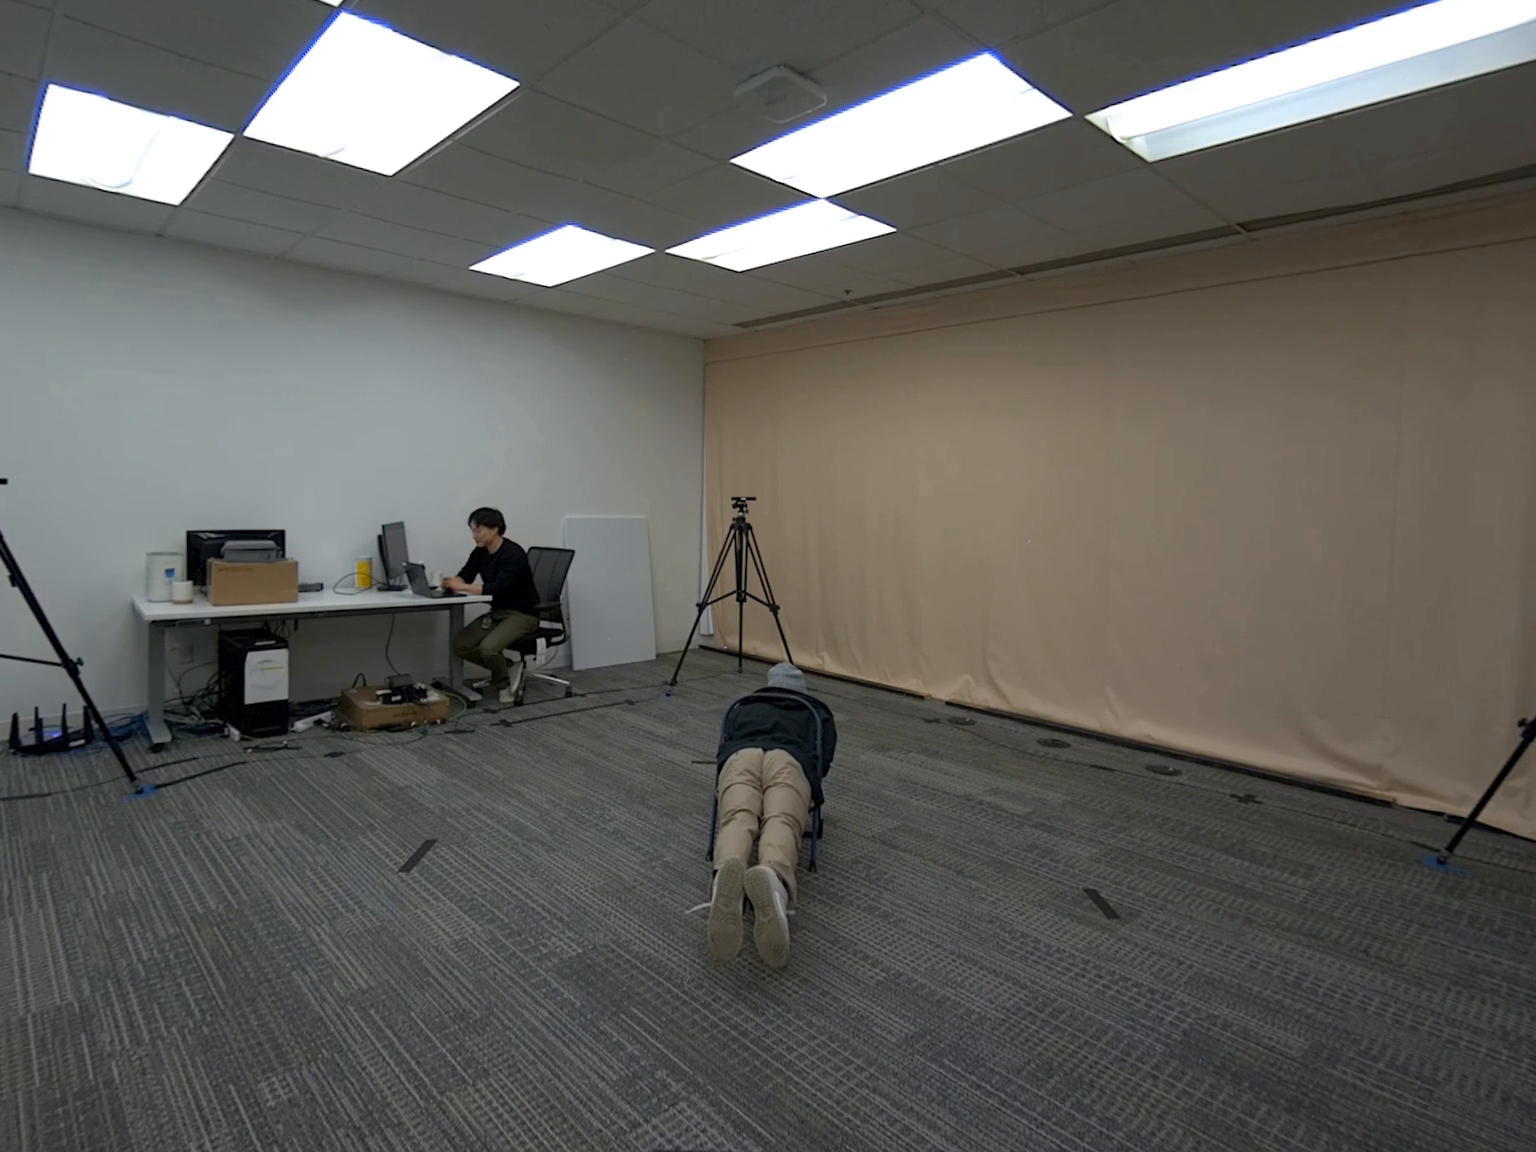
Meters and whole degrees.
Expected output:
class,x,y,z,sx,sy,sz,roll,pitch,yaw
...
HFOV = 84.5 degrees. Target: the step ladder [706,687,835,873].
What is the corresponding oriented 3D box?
class,x,y,z,sx,sy,sz,roll,pitch,yaw
step ladder,-0.004,0.791,3.352,0.434,0.605,0.347,2,2,9
